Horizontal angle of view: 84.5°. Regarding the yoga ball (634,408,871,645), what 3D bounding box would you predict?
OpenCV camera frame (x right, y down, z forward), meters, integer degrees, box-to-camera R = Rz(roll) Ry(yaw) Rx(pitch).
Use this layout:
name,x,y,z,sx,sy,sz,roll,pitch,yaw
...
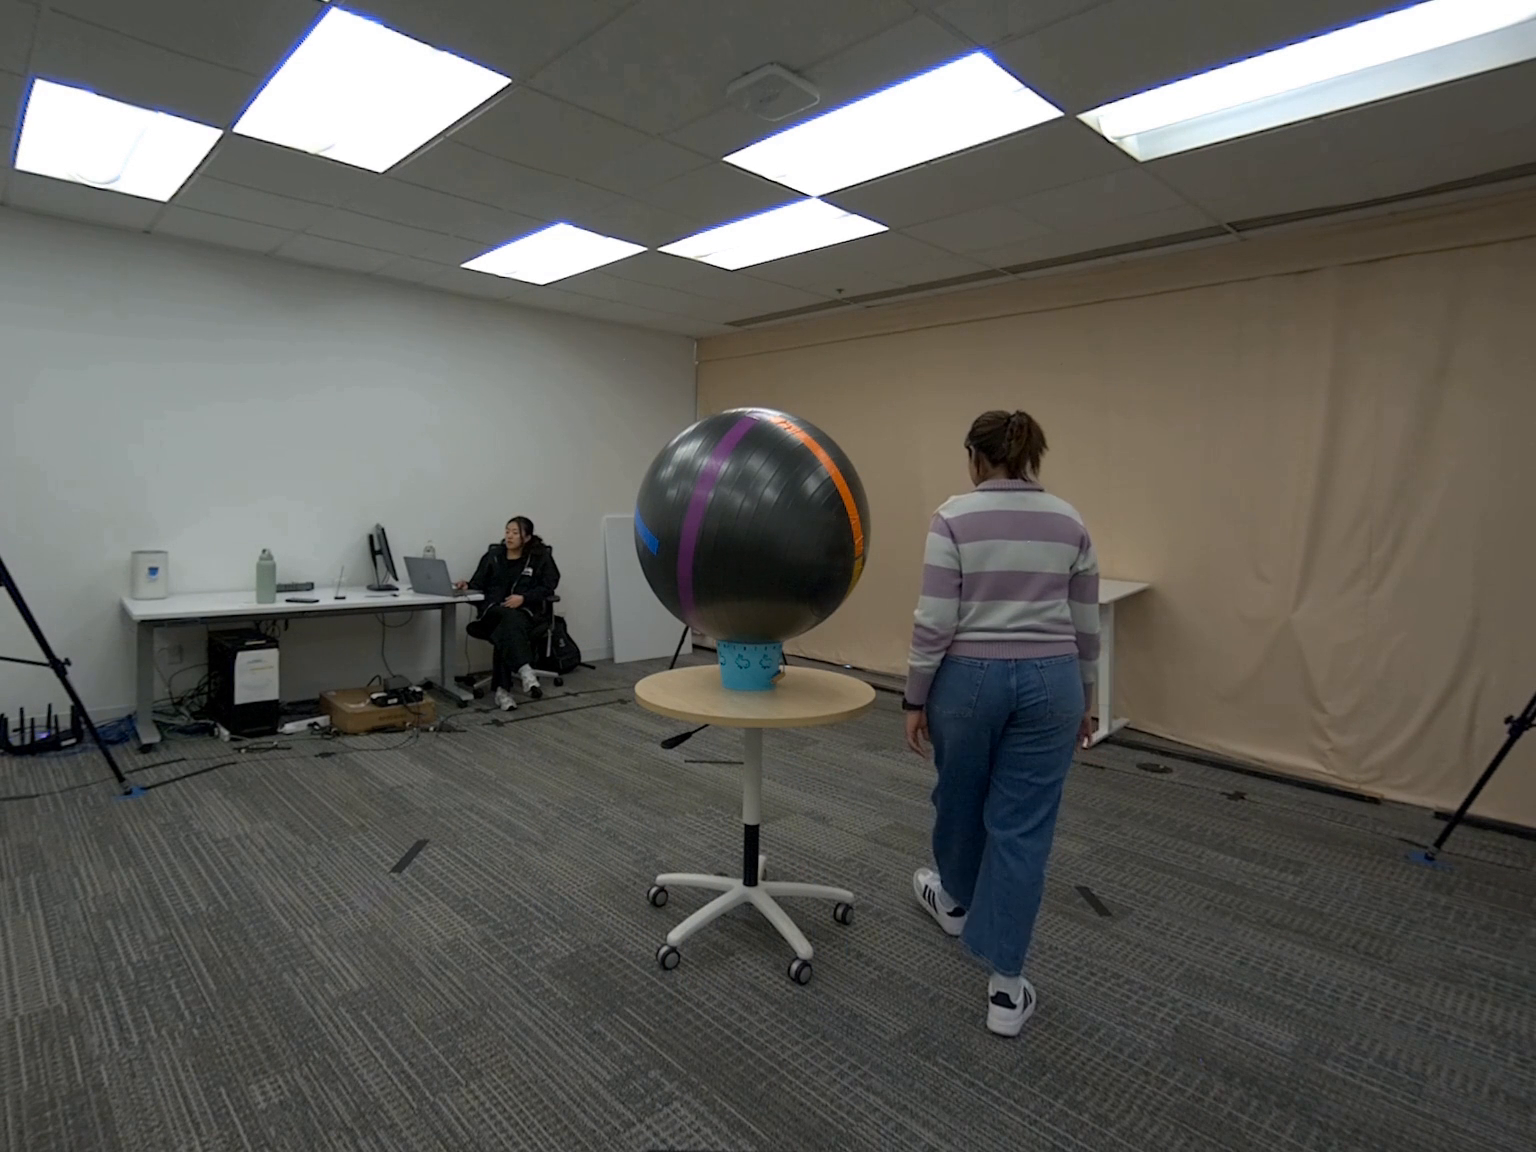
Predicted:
name,x,y,z,sx,sy,sz,roll,pitch,yaw
yoga ball,-0.050,-0.152,2.713,0.757,0.756,0.761,1,4,-1
